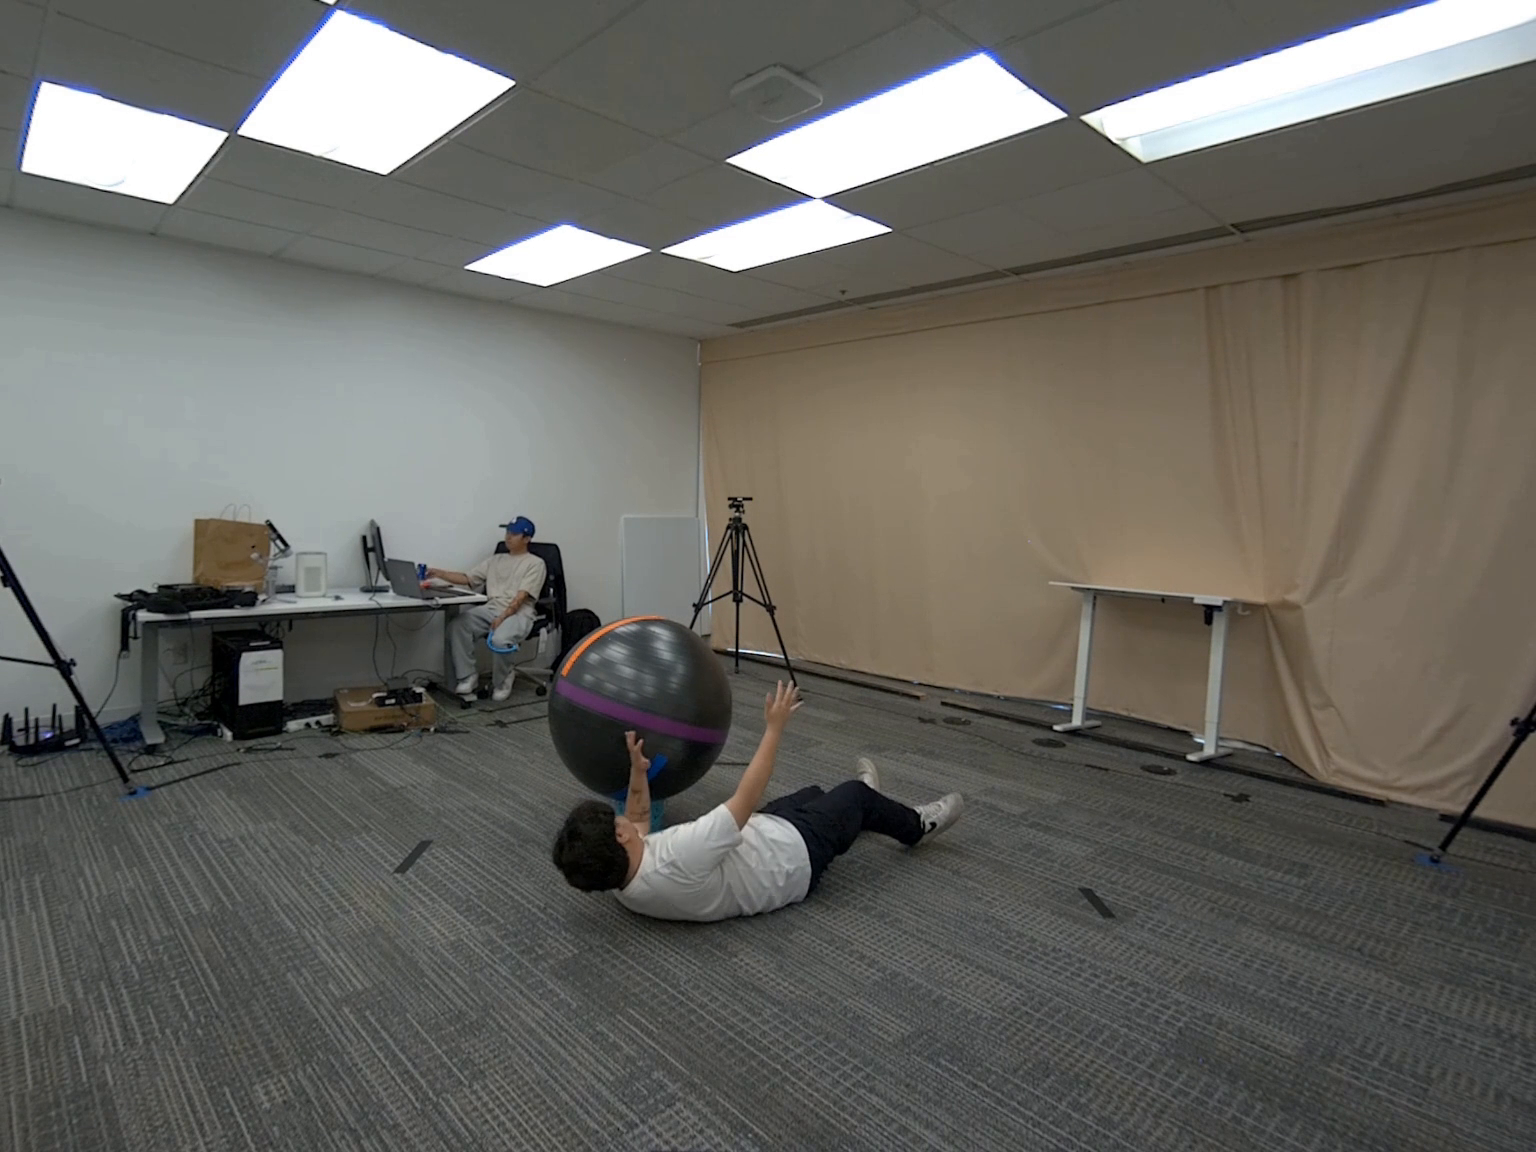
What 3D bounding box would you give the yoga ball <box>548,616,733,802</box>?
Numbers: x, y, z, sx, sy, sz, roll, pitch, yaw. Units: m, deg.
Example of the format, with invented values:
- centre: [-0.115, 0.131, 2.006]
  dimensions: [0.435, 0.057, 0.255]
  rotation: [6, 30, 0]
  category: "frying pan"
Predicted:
- centre: [-0.539, 0.550, 3.526]
  dimensions: [0.757, 0.756, 0.761]
  rotation: [1, 4, -1]
  category: "yoga ball"
